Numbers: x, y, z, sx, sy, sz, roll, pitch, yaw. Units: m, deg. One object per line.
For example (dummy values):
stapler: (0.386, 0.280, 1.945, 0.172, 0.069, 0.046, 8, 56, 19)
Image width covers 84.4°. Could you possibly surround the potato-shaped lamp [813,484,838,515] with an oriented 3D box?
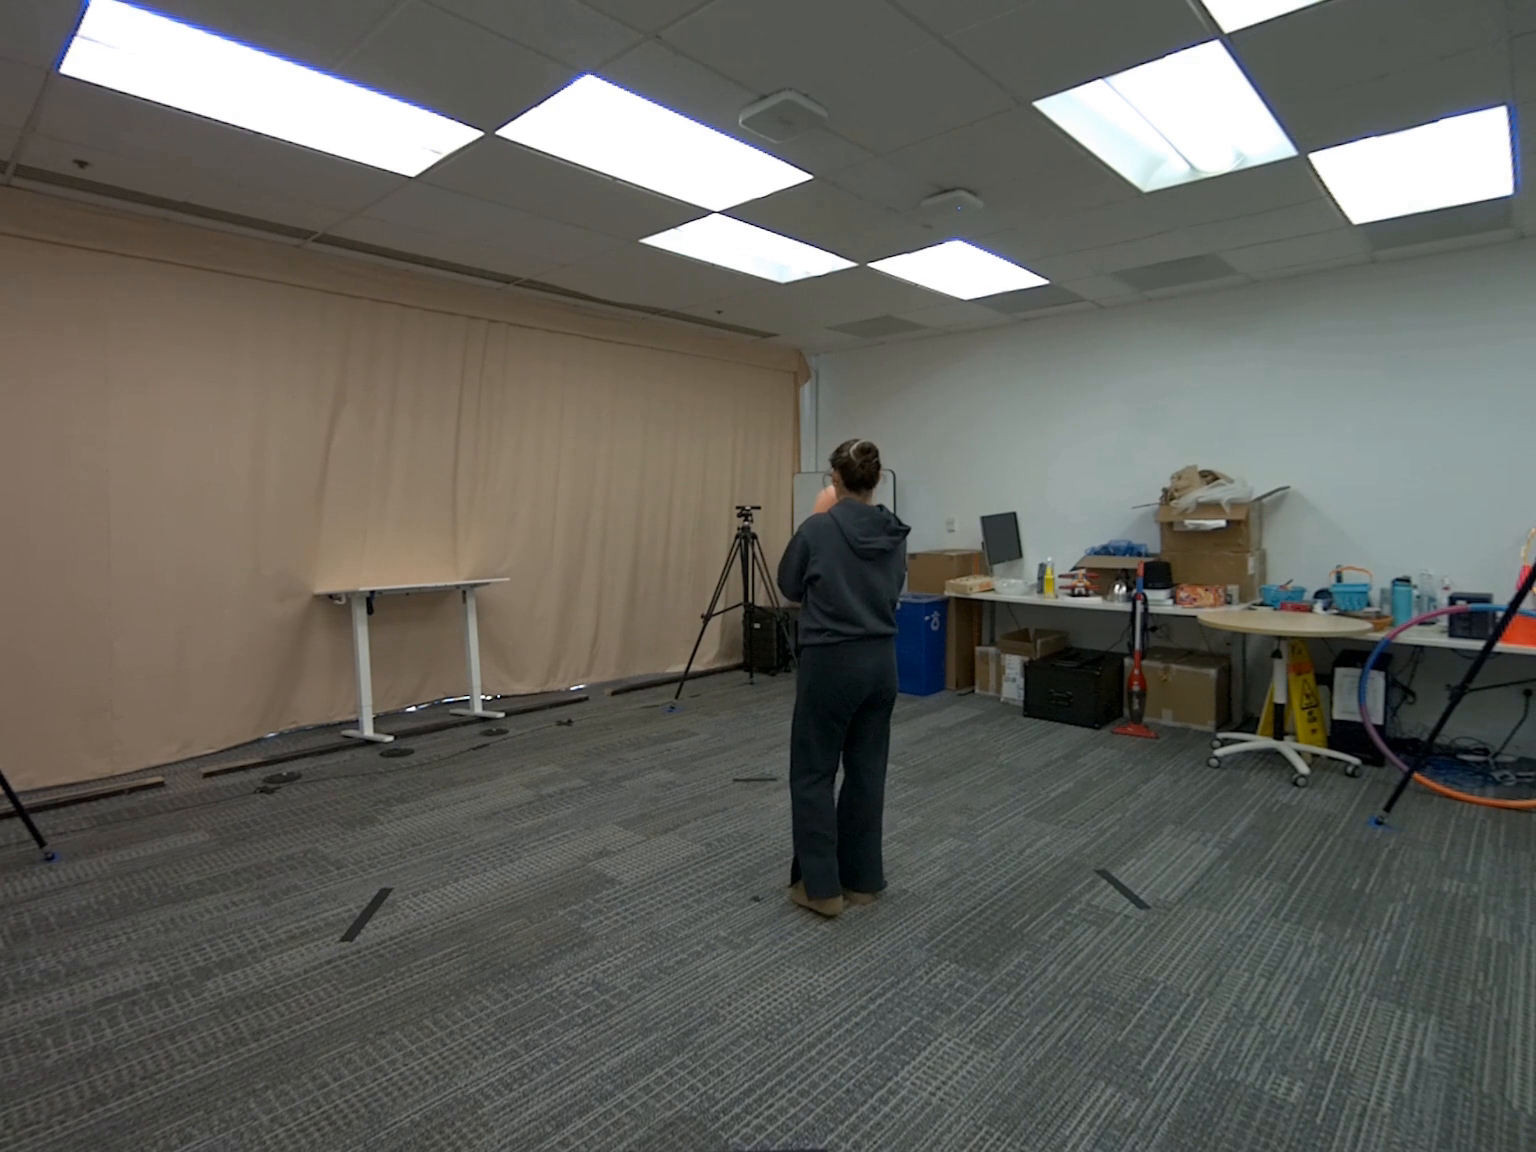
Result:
potato-shaped lamp: (0.281, -0.259, 3.211, 0.160, 0.196, 0.178, -11, 32, -37)
